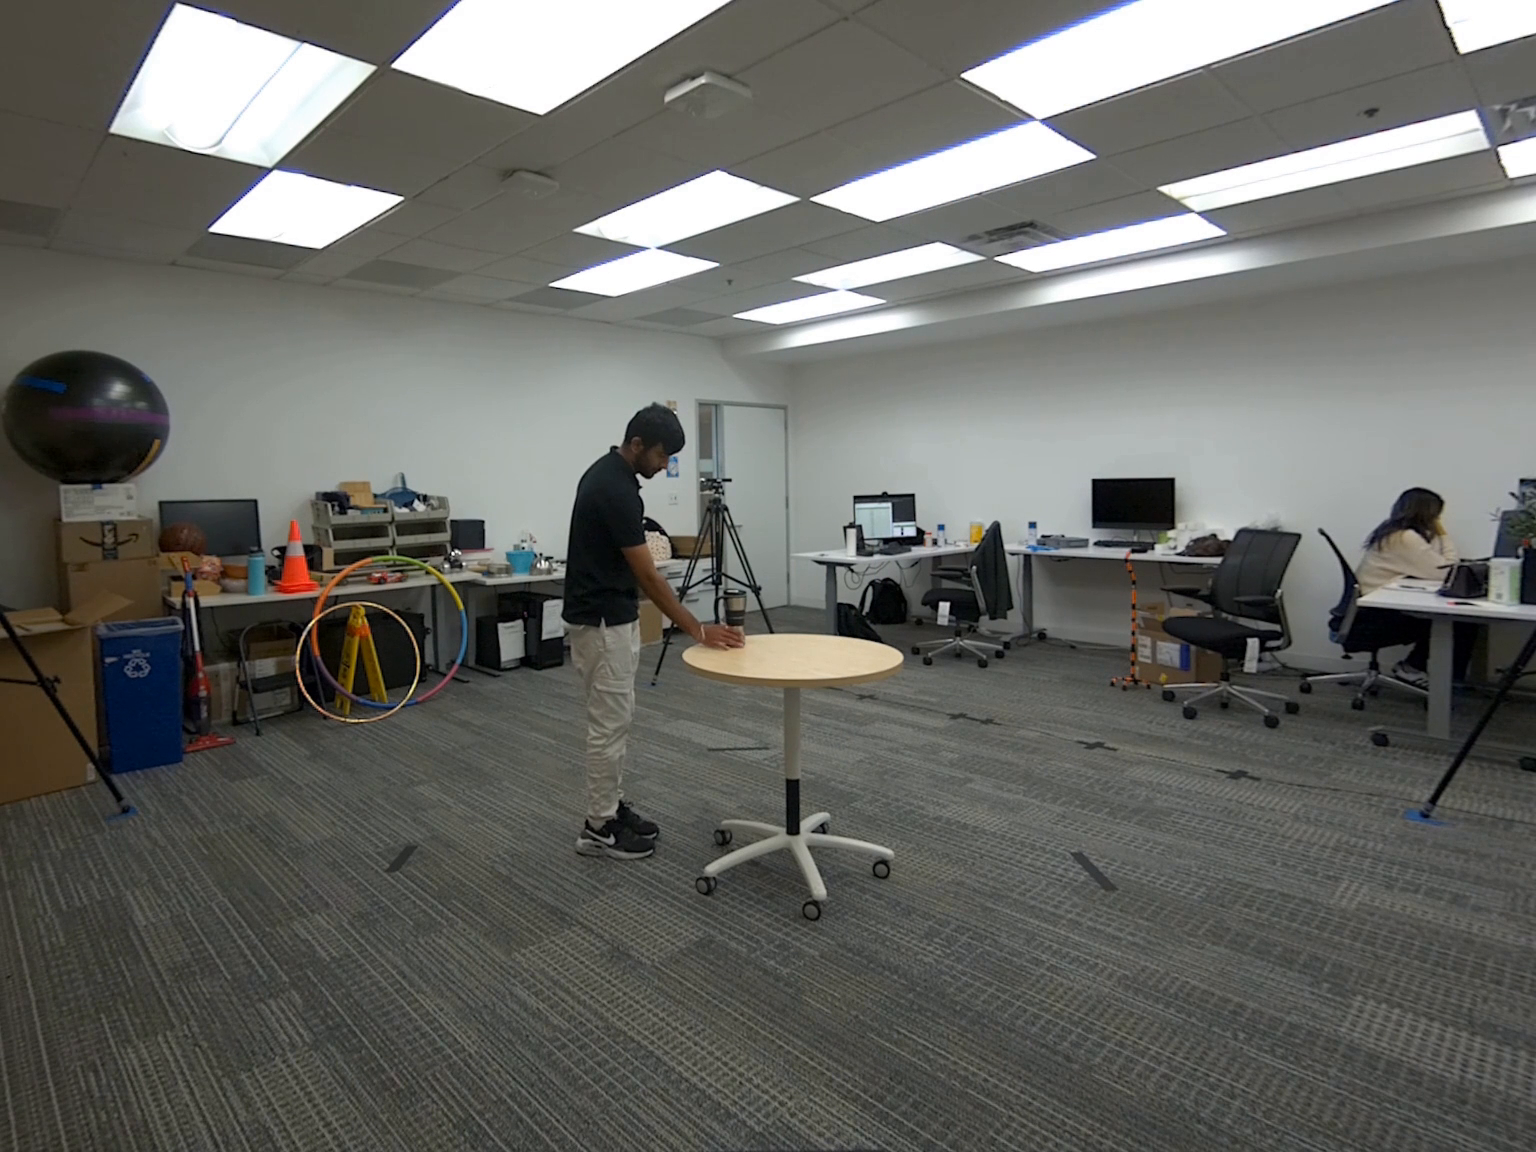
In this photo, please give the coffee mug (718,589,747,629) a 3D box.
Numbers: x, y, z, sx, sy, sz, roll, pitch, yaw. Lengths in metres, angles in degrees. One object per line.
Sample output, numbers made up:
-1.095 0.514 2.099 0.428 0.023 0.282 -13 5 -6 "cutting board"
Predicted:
-0.138 0.151 3.174 0.126 0.202 0.086 4 8 39 "coffee mug"
